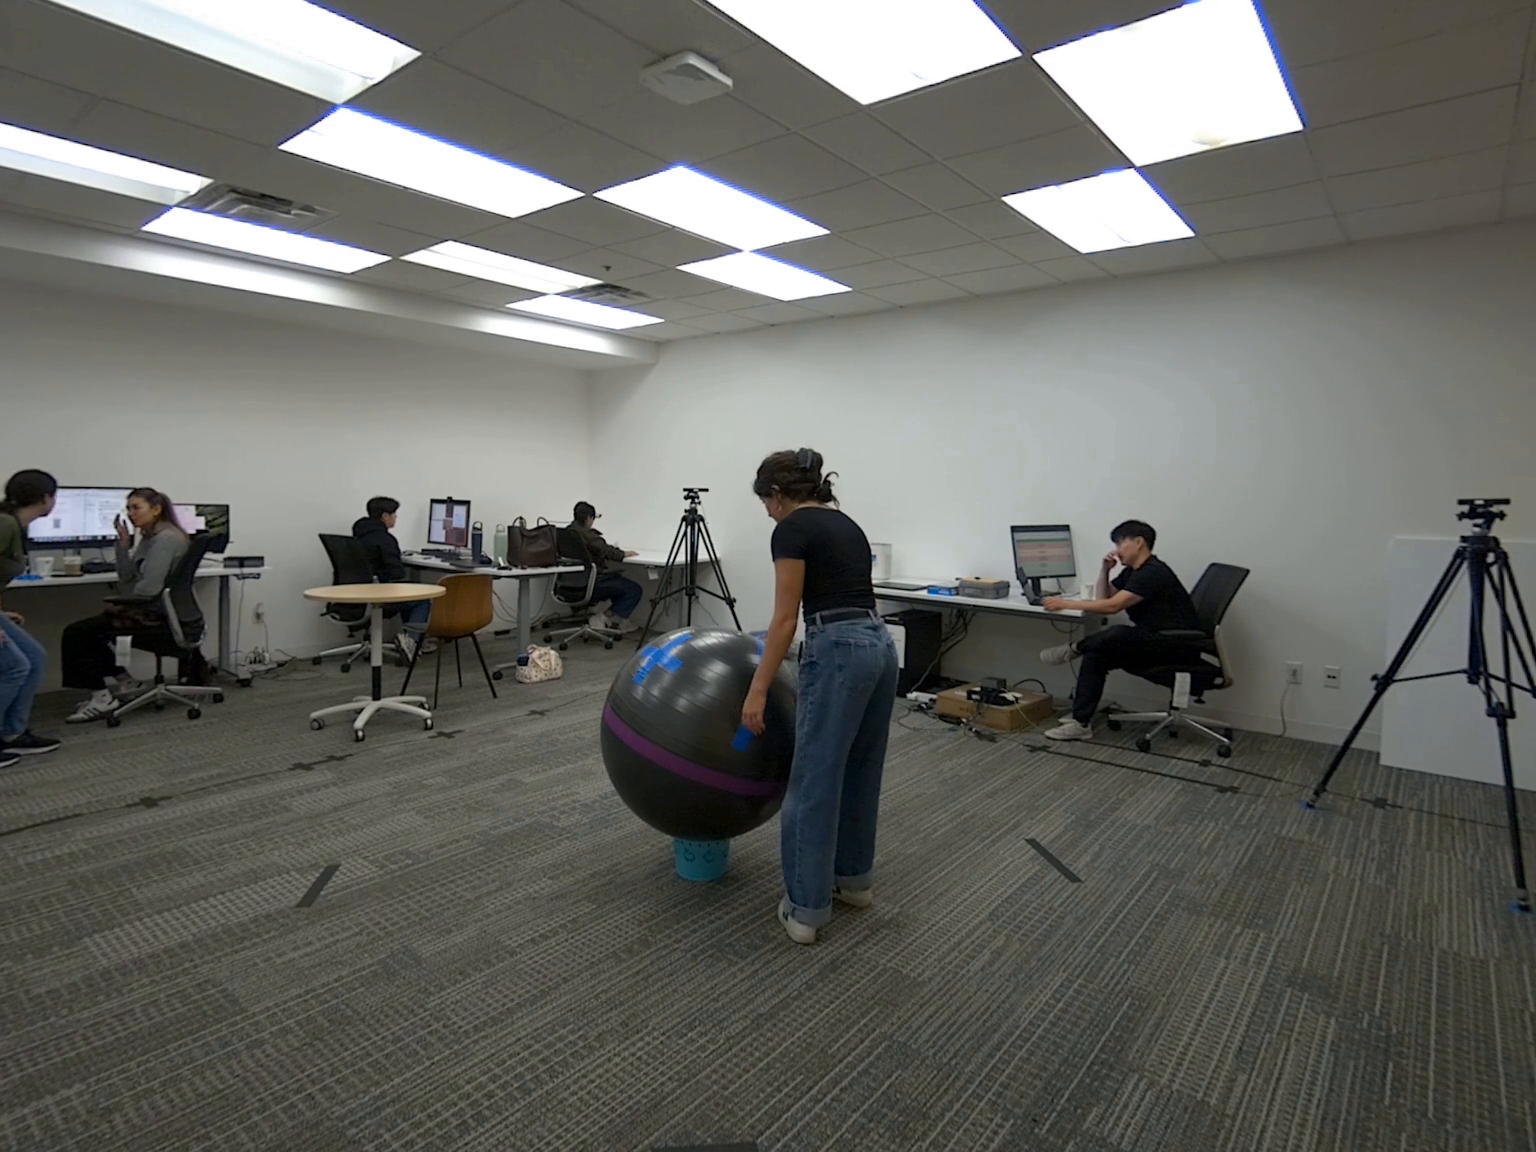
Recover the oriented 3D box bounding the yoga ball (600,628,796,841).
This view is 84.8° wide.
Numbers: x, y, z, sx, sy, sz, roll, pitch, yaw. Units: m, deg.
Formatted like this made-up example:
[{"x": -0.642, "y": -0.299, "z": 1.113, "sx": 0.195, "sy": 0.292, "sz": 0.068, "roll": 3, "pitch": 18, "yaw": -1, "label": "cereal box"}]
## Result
[{"x": -0.224, "y": 0.570, "z": 3.088, "sx": 0.757, "sy": 0.756, "sz": 0.762, "roll": 1, "pitch": 4, "yaw": -2, "label": "yoga ball"}]
